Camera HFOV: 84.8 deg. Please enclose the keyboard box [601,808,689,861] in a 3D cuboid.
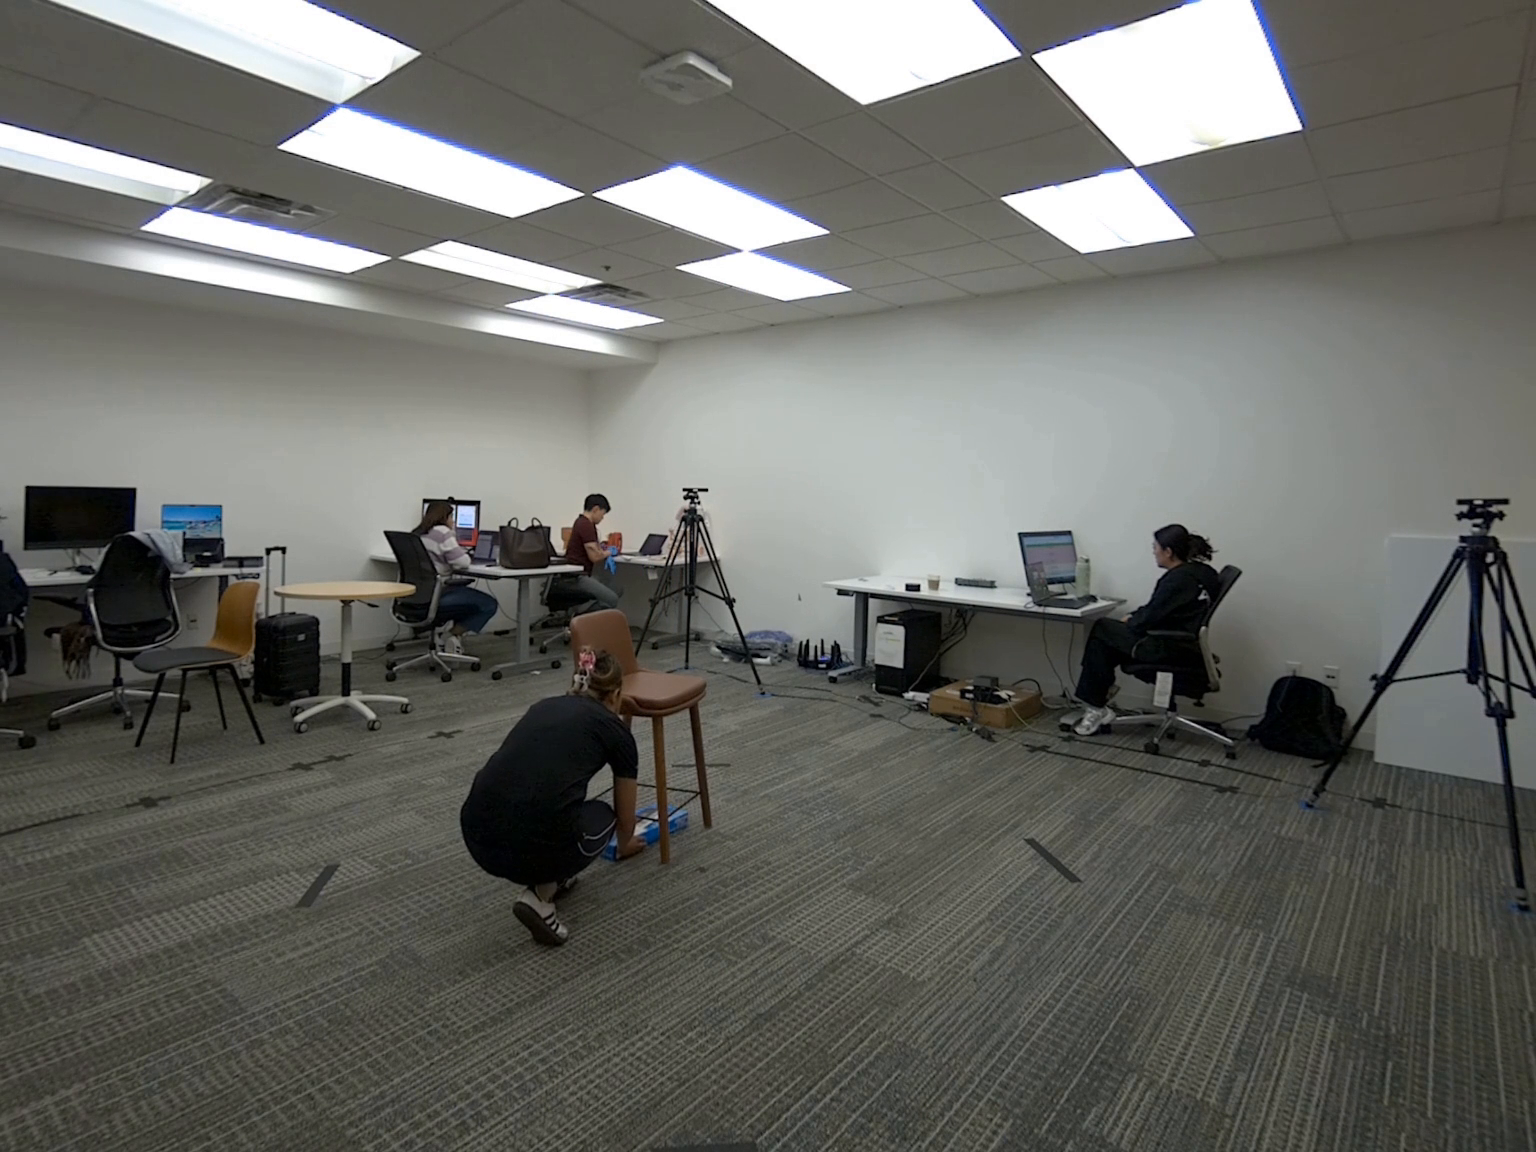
[{"bbox_3d":[-0.533,1.016,3.381,0.181,0.059,0.425,3,6,34],"label":"keyboard box"}]
